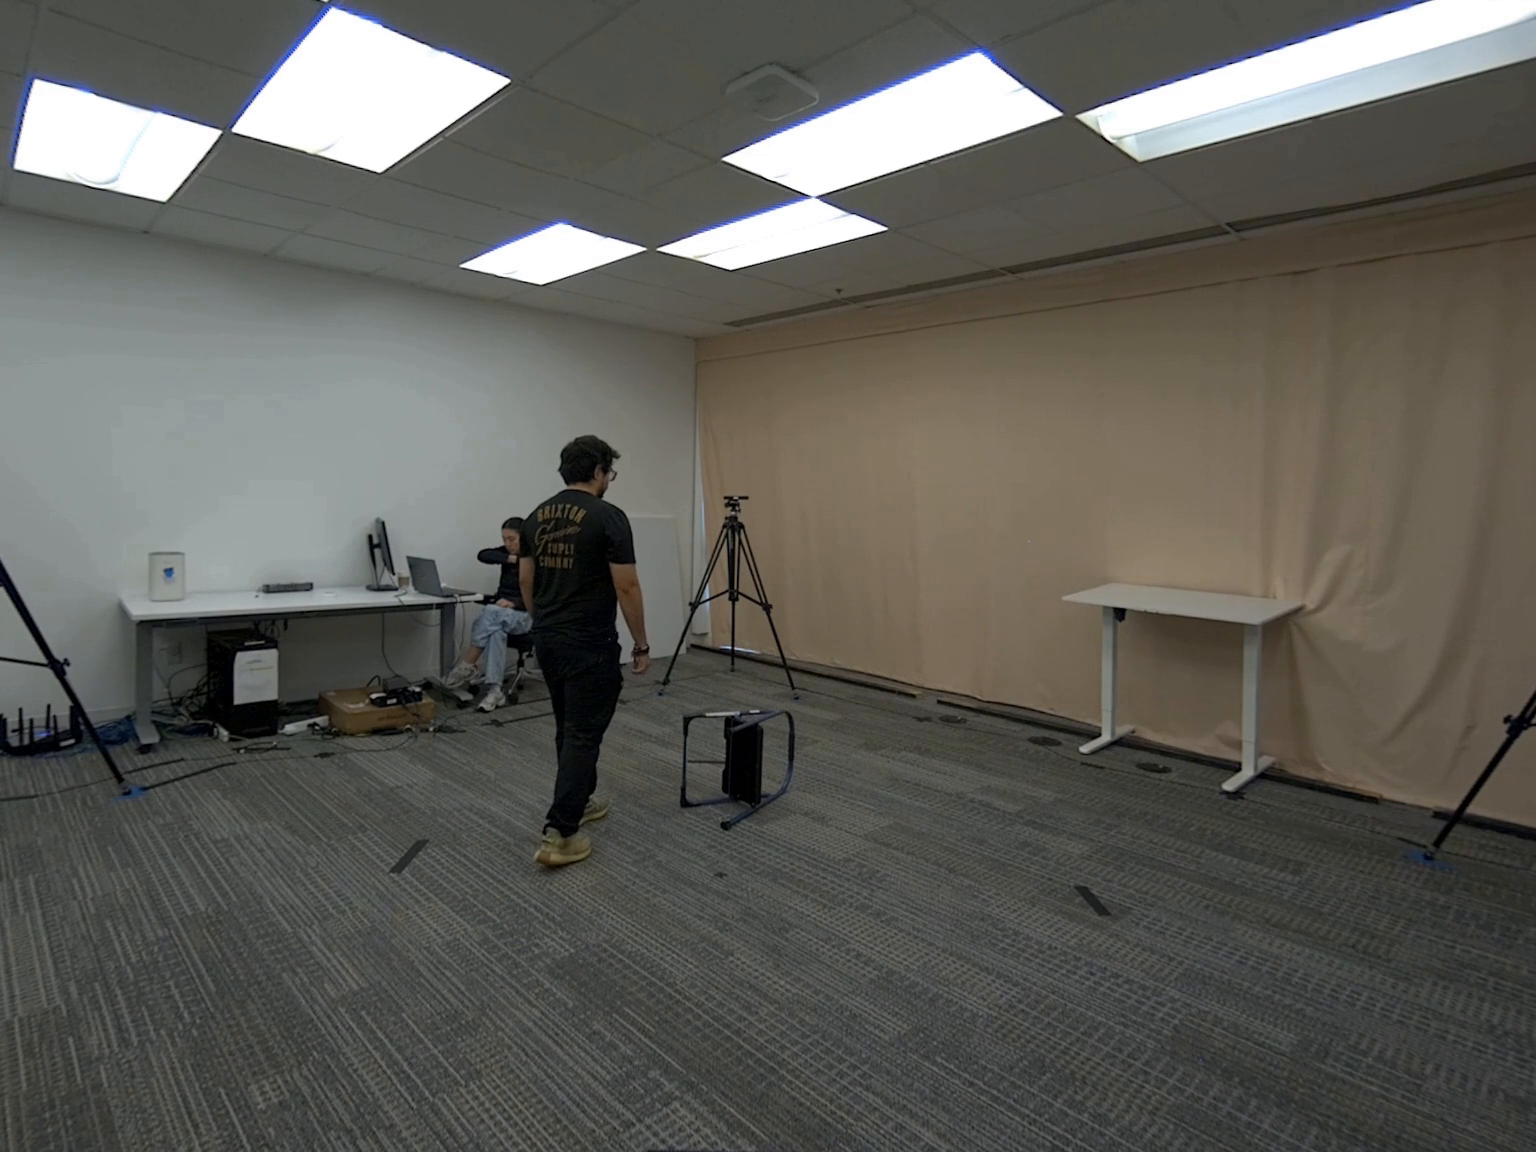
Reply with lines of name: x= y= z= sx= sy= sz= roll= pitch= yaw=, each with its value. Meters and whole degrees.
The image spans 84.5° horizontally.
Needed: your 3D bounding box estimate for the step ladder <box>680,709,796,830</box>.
step ladder: x=-0.065 y=0.833 z=3.831 sx=0.592 sy=0.430 sz=0.358 roll=0 pitch=4 yaw=-41
